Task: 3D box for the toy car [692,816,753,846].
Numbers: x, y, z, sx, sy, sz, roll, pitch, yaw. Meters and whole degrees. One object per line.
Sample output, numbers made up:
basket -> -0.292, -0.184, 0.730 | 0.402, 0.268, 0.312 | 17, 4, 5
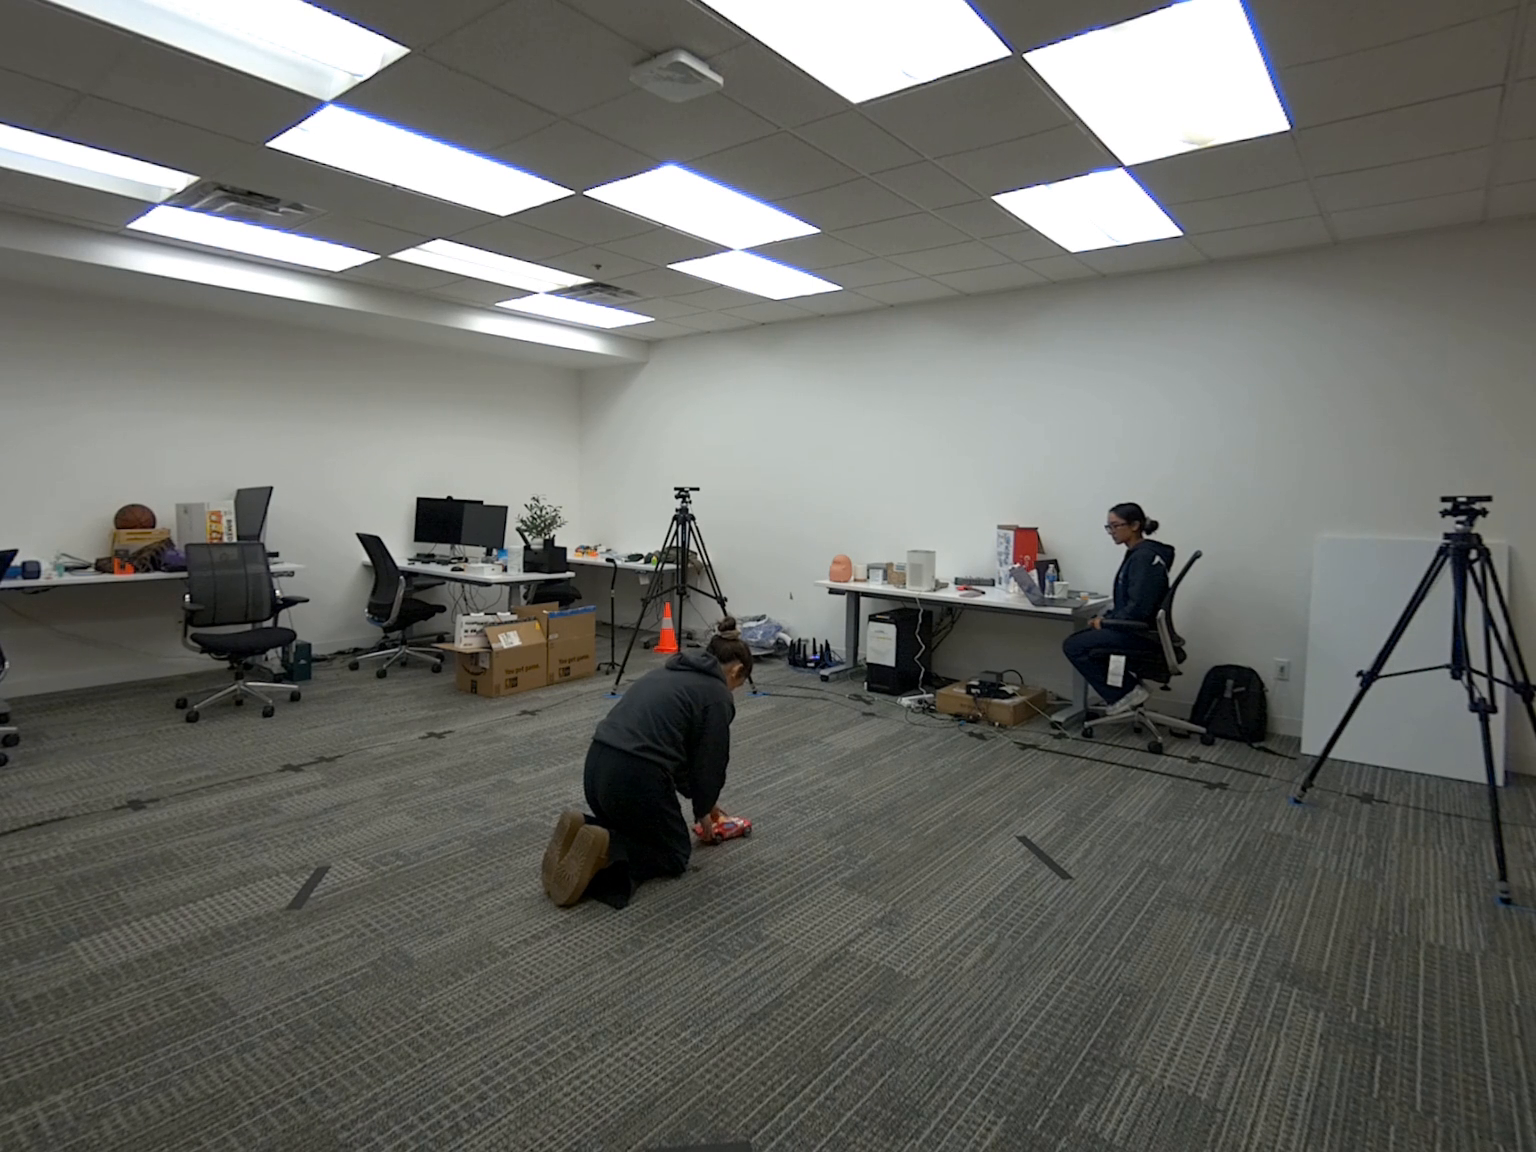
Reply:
toy car -> -0.189, 1.008, 3.388 | 0.246, 0.083, 0.134 | 9, -3, -34
